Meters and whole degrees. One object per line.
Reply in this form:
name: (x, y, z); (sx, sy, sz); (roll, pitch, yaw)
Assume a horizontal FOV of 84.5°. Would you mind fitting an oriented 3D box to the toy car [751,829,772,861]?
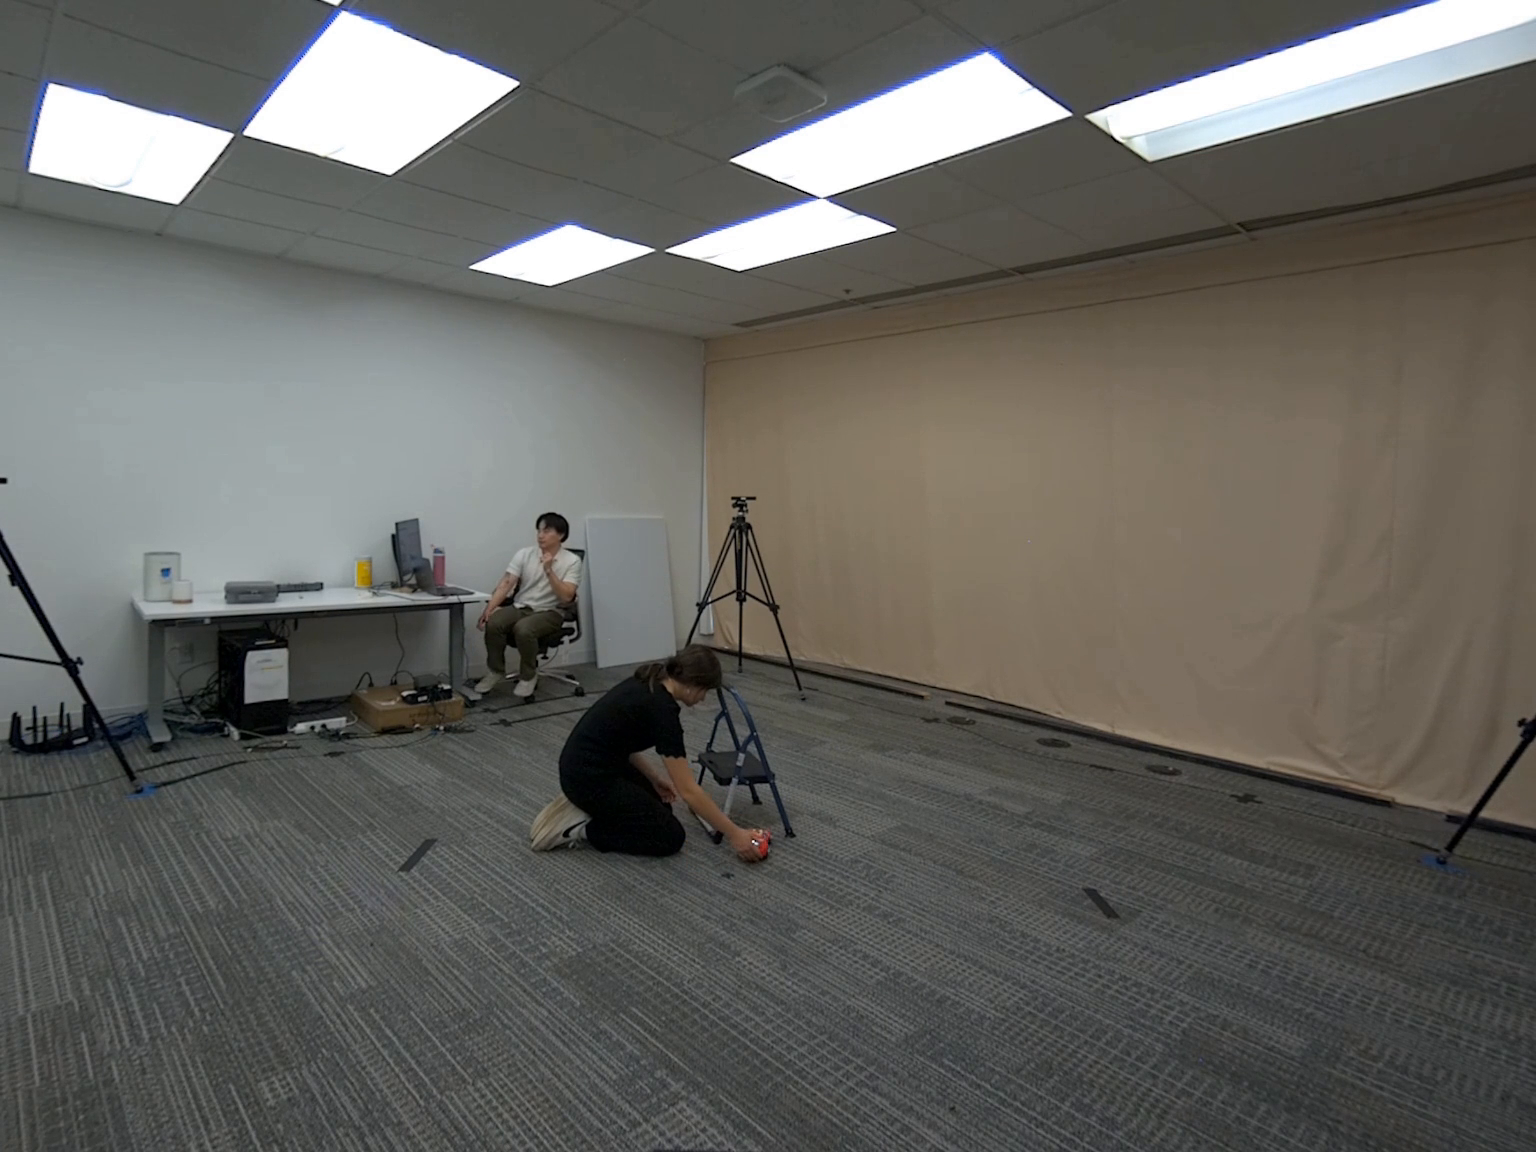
toy car: (-0.072, 1.057, 3.319); (0.131, 0.083, 0.252); (5, -5, 6)
